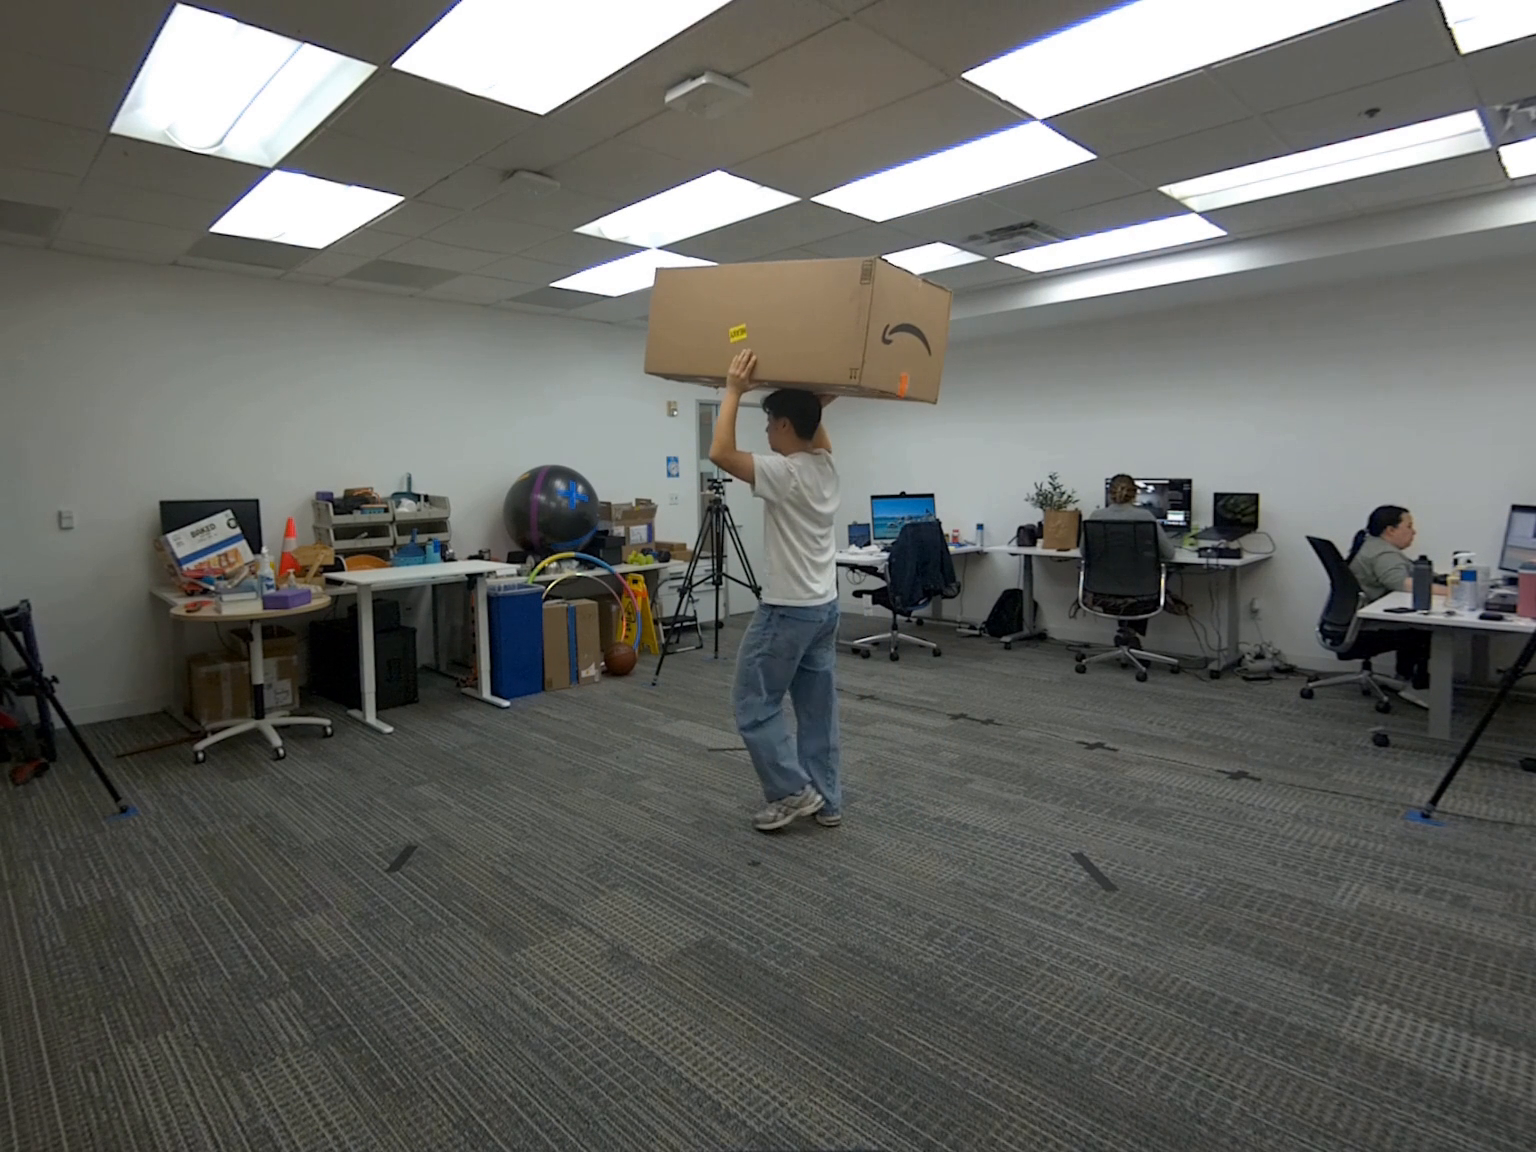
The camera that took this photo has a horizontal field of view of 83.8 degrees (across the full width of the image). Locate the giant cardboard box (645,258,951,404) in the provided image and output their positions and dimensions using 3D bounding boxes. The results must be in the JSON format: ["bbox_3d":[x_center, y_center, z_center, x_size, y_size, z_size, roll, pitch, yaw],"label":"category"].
[{"bbox_3d":[0.089,-0.937,3.332,1.061,0.424,0.561,13,10,38],"label":"giant cardboard box"}]
